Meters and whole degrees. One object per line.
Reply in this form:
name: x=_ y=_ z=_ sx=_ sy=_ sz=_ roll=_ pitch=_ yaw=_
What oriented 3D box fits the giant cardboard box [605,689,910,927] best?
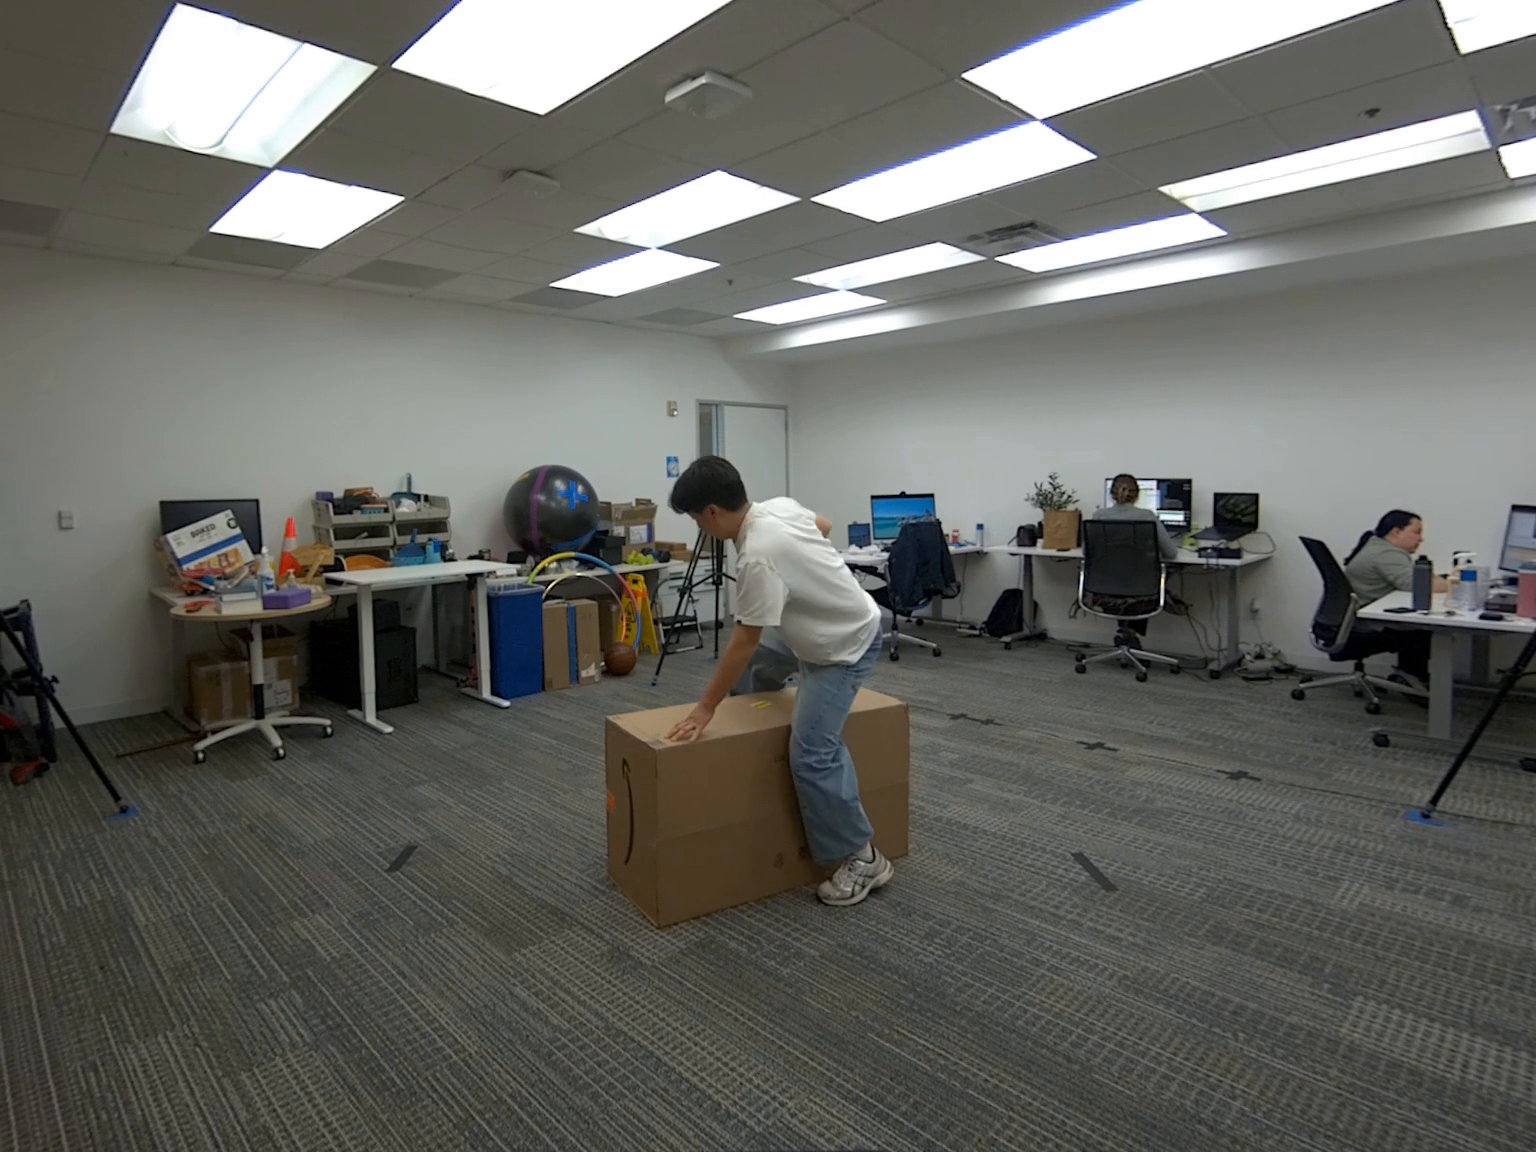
giant cardboard box: x=-0.026 y=0.764 z=3.068 sx=1.002 sy=0.575 sz=0.438 roll=-4 pitch=6 yaw=-30
